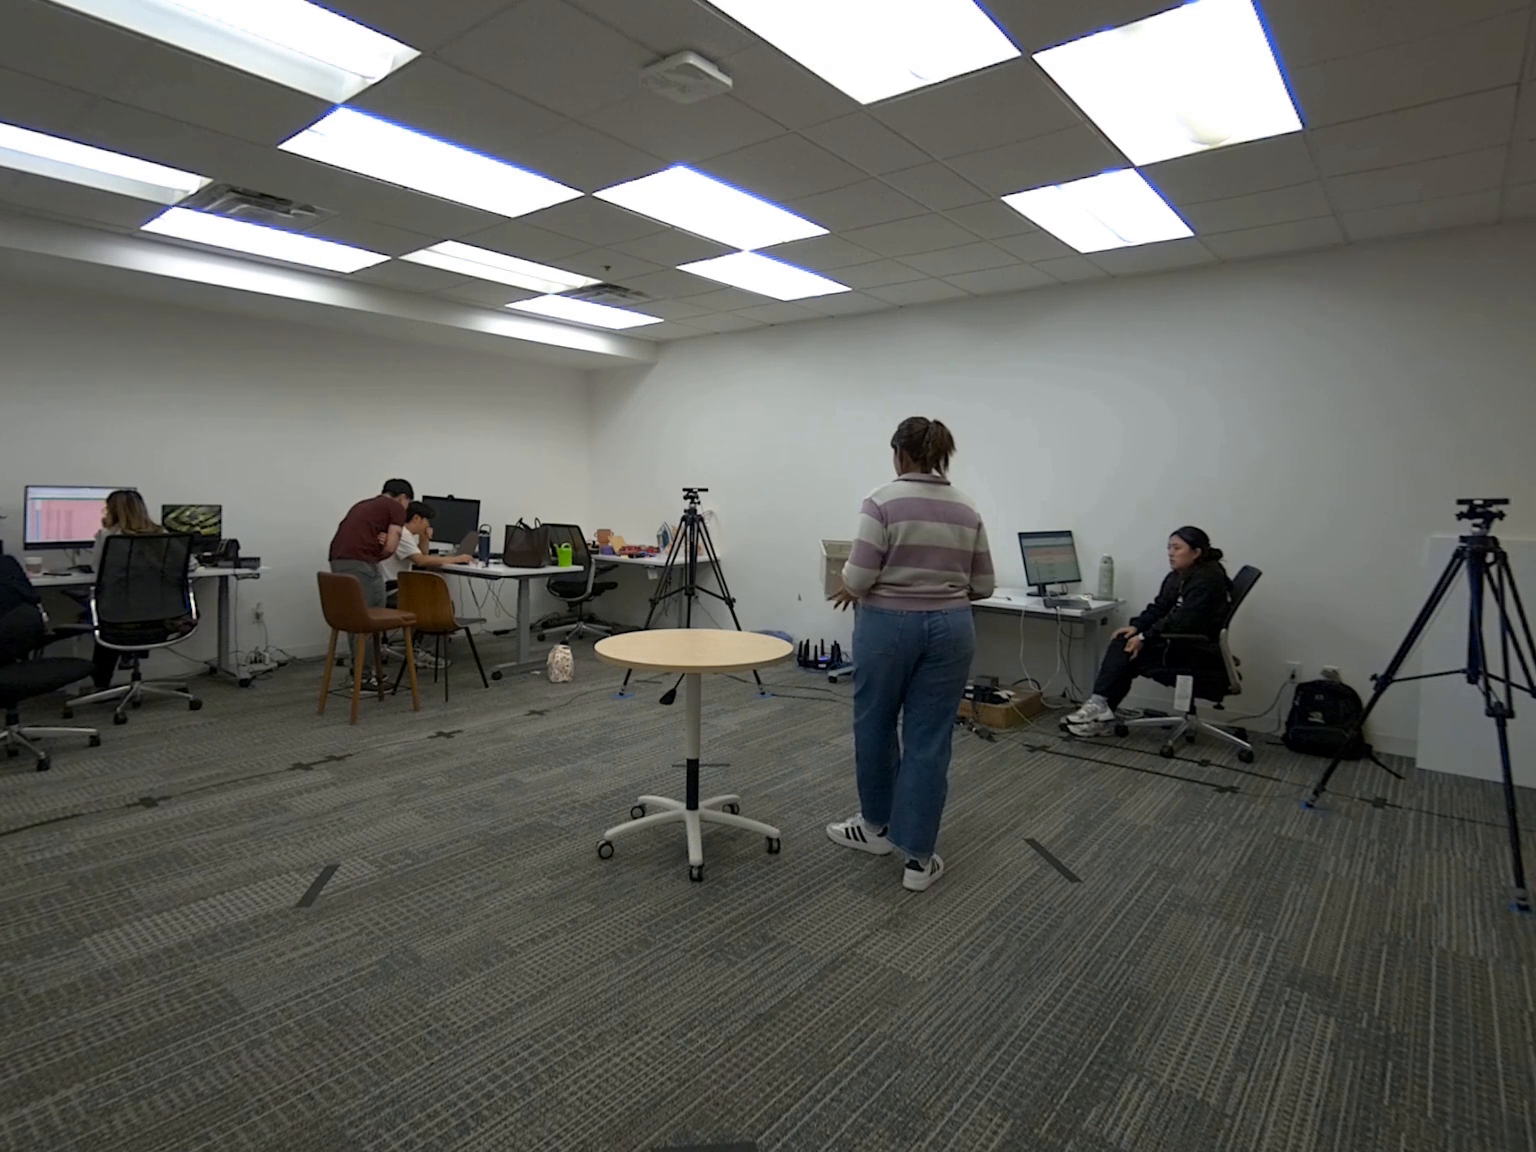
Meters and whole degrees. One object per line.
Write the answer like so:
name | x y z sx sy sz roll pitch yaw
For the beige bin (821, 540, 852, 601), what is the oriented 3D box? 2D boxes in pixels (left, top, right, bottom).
beige bin | 0.411 -0.028 3.525 0.380 0.187 0.423 2 10 5
